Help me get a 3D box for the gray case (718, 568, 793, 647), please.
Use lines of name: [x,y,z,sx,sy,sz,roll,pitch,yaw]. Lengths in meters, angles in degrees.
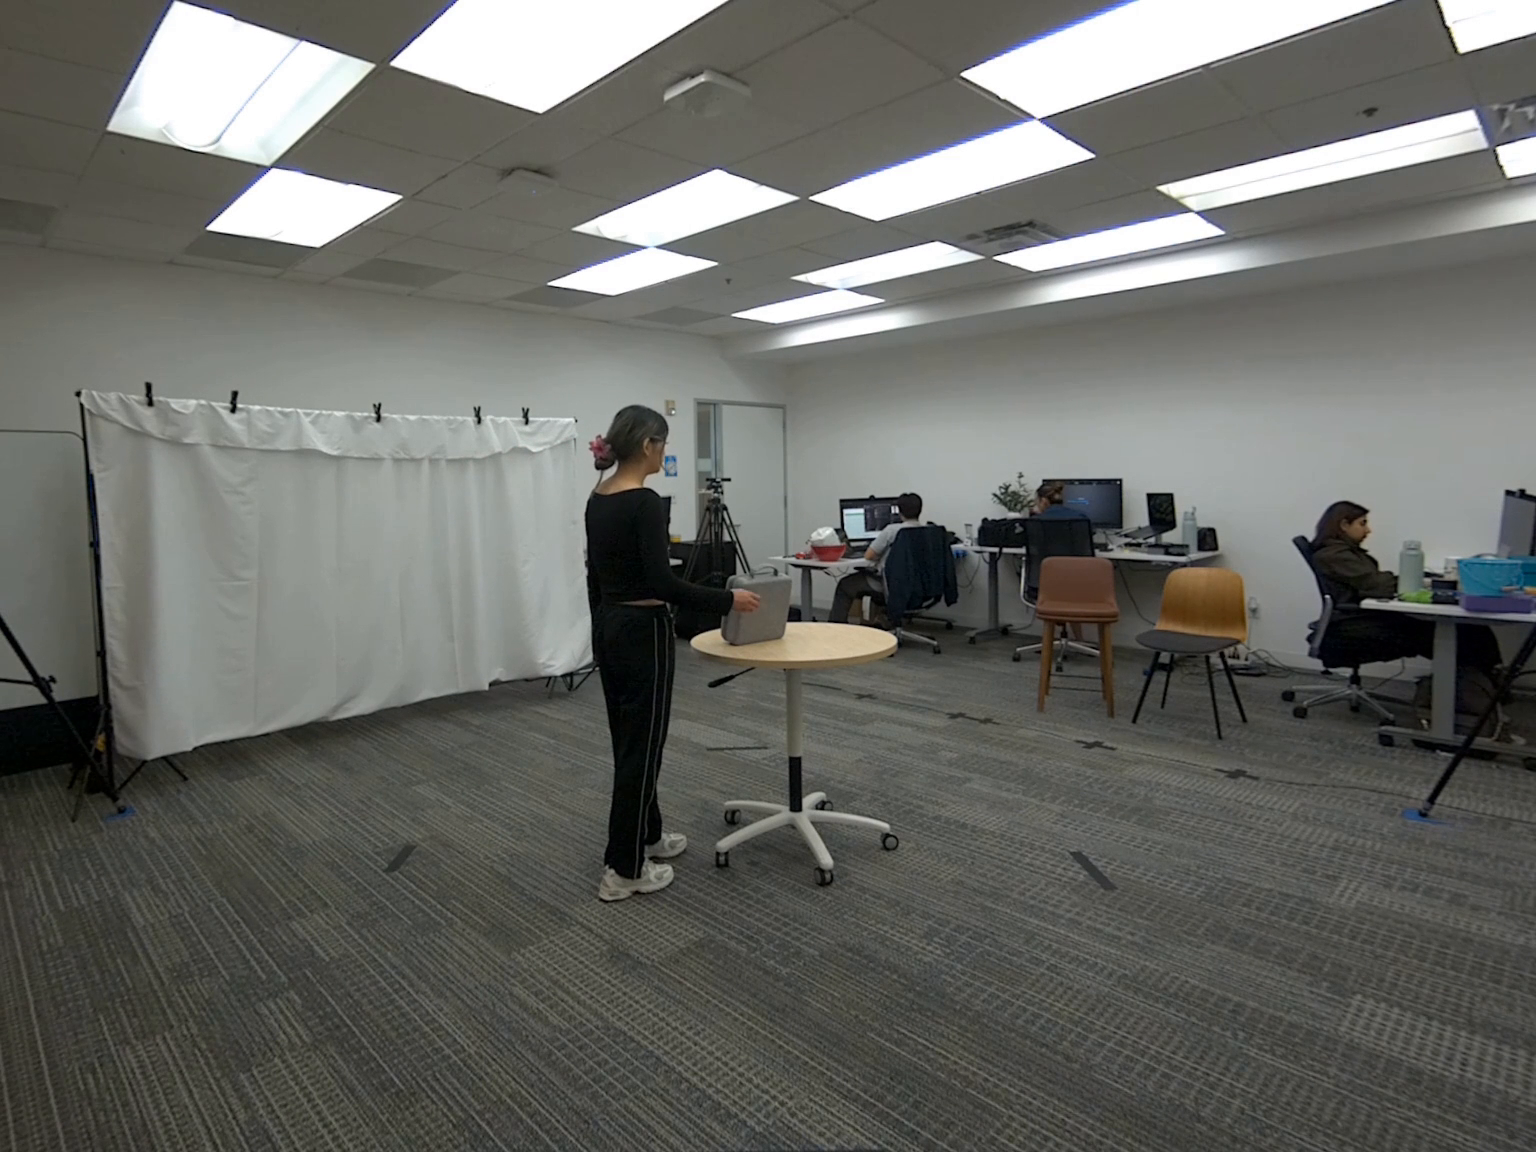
gray case: [-0.038,0.113,3.157,0.250,0.258,0.108,-5,18,-37]
